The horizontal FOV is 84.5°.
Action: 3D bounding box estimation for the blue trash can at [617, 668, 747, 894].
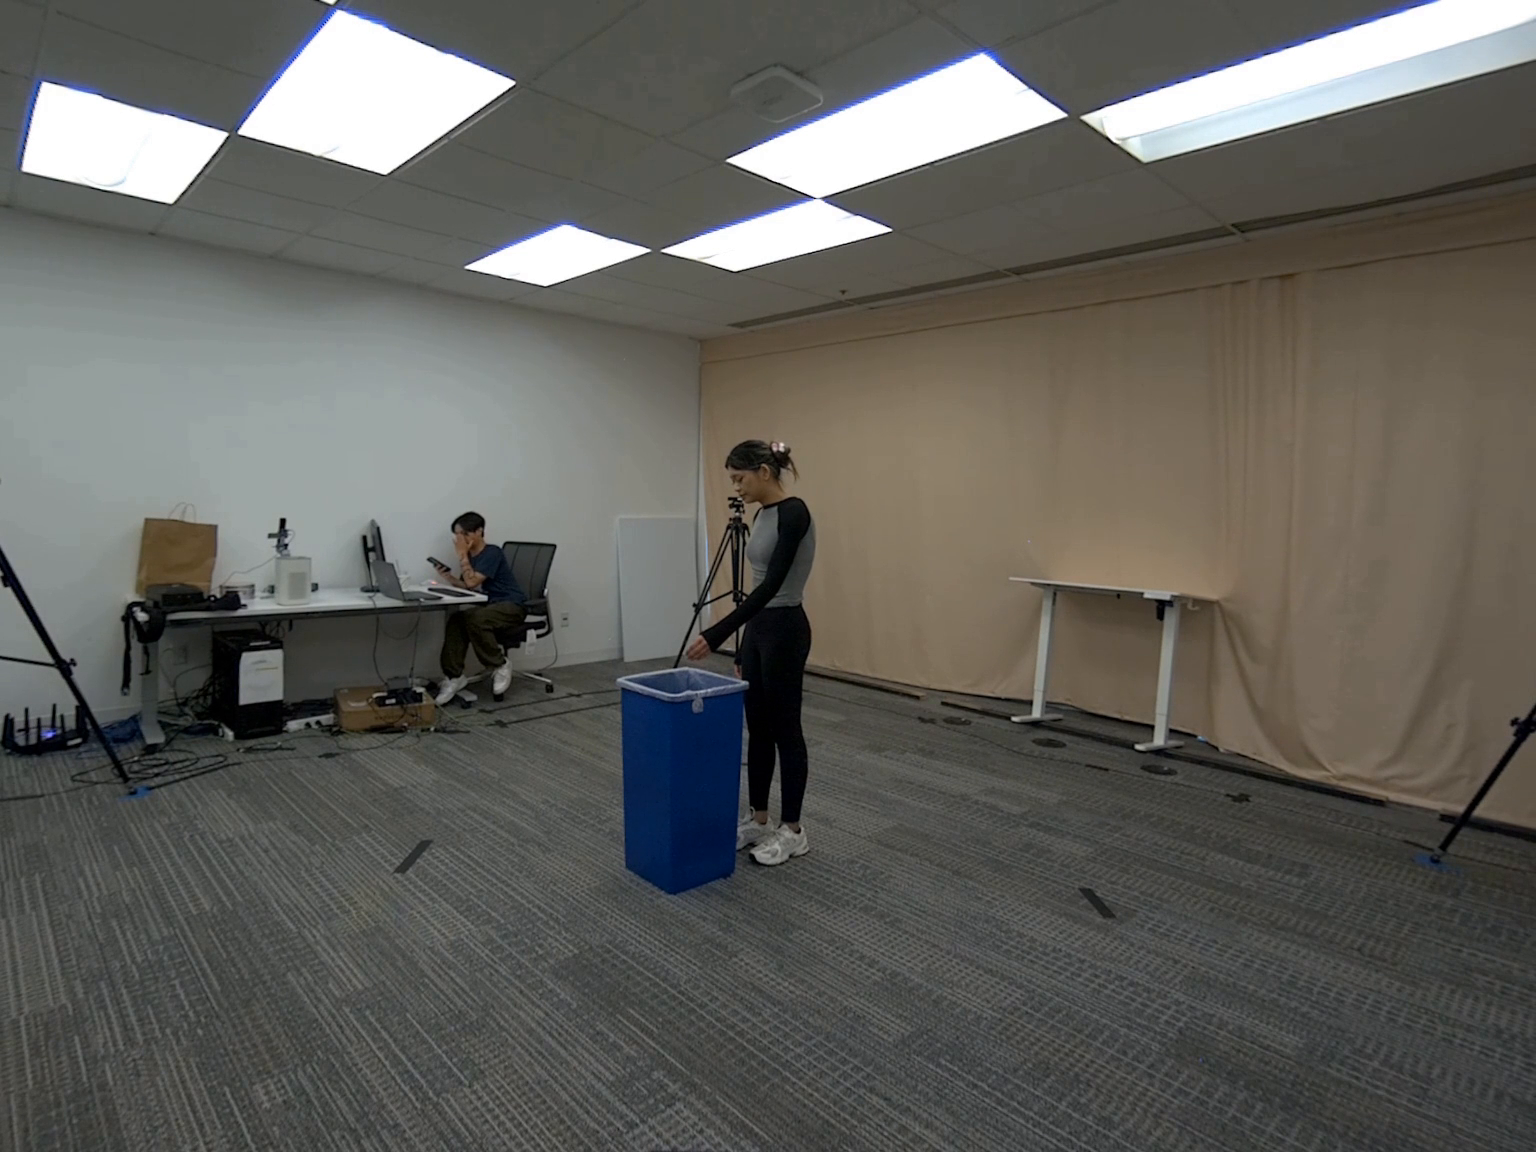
[{"bbox_3d":[-0.337,0.744,3.132,0.369,0.712,0.384,-1,4,-42],"label":"blue trash can"}]
